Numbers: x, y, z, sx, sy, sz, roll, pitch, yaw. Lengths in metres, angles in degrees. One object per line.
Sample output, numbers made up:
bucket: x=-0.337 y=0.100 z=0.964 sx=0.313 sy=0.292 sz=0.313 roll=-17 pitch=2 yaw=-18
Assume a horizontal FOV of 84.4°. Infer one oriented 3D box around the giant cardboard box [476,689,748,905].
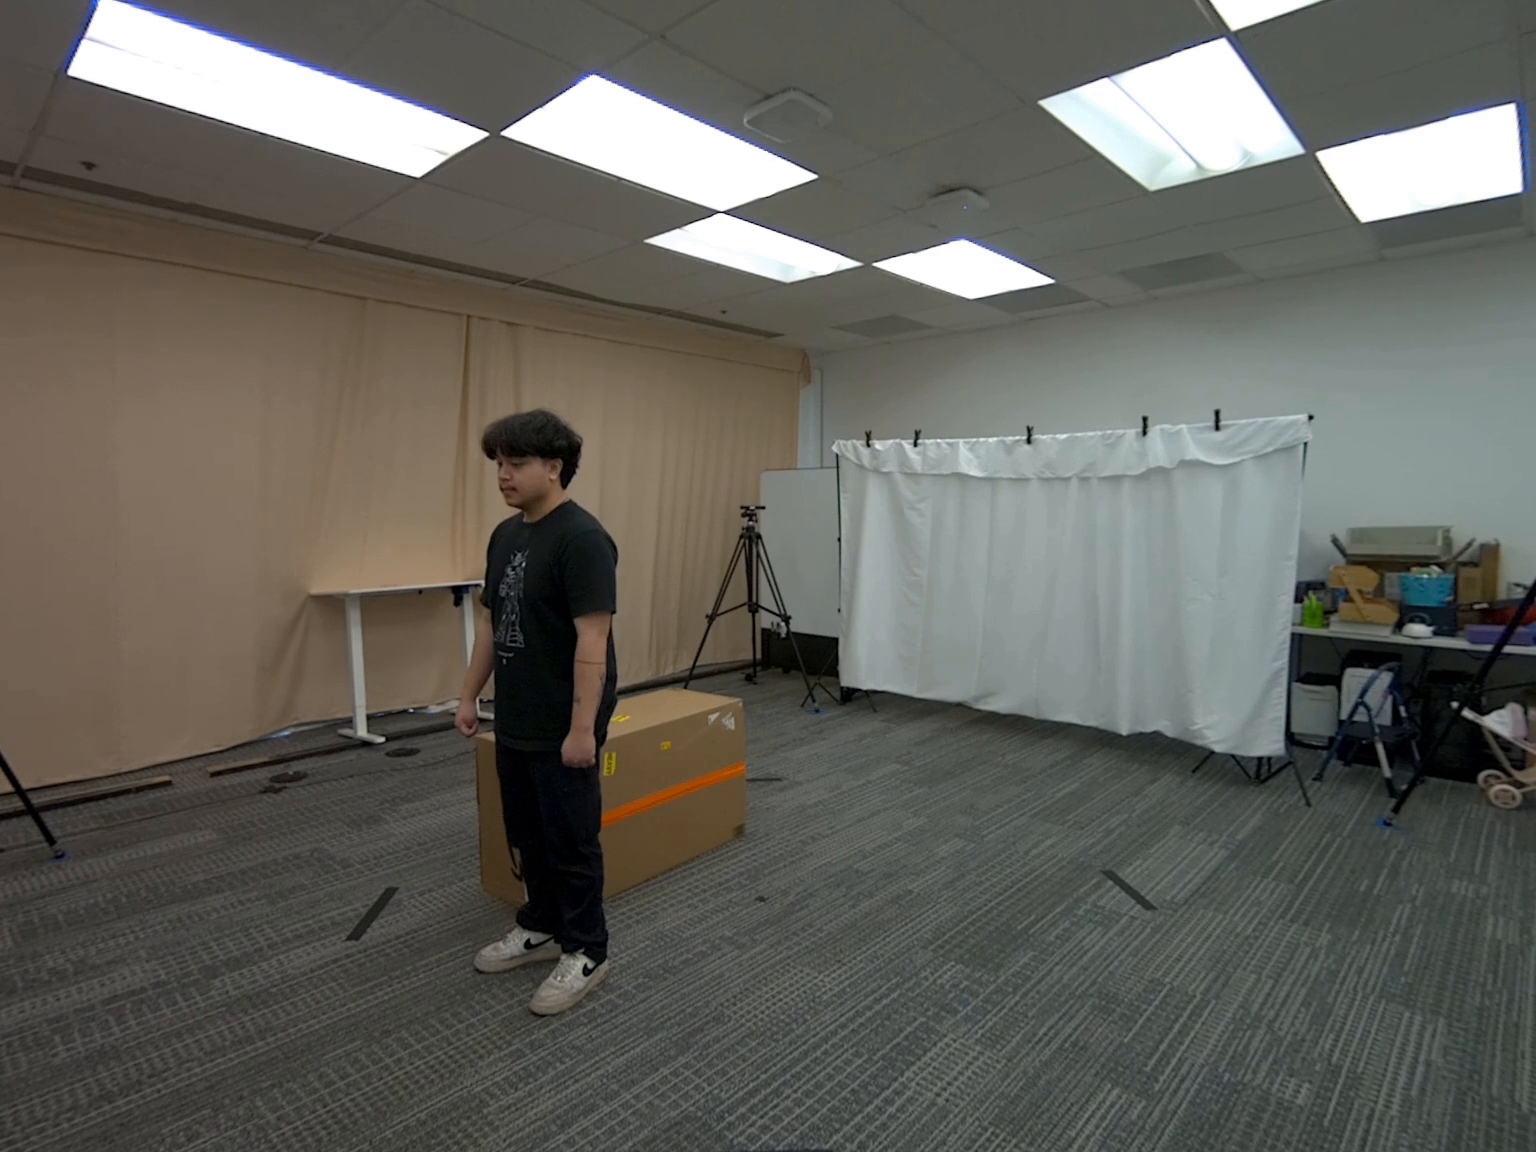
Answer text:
giant cardboard box: x=-0.577 y=0.835 z=3.312 sx=0.461 sy=0.582 sz=0.997 roll=3 pitch=6 yaw=39
